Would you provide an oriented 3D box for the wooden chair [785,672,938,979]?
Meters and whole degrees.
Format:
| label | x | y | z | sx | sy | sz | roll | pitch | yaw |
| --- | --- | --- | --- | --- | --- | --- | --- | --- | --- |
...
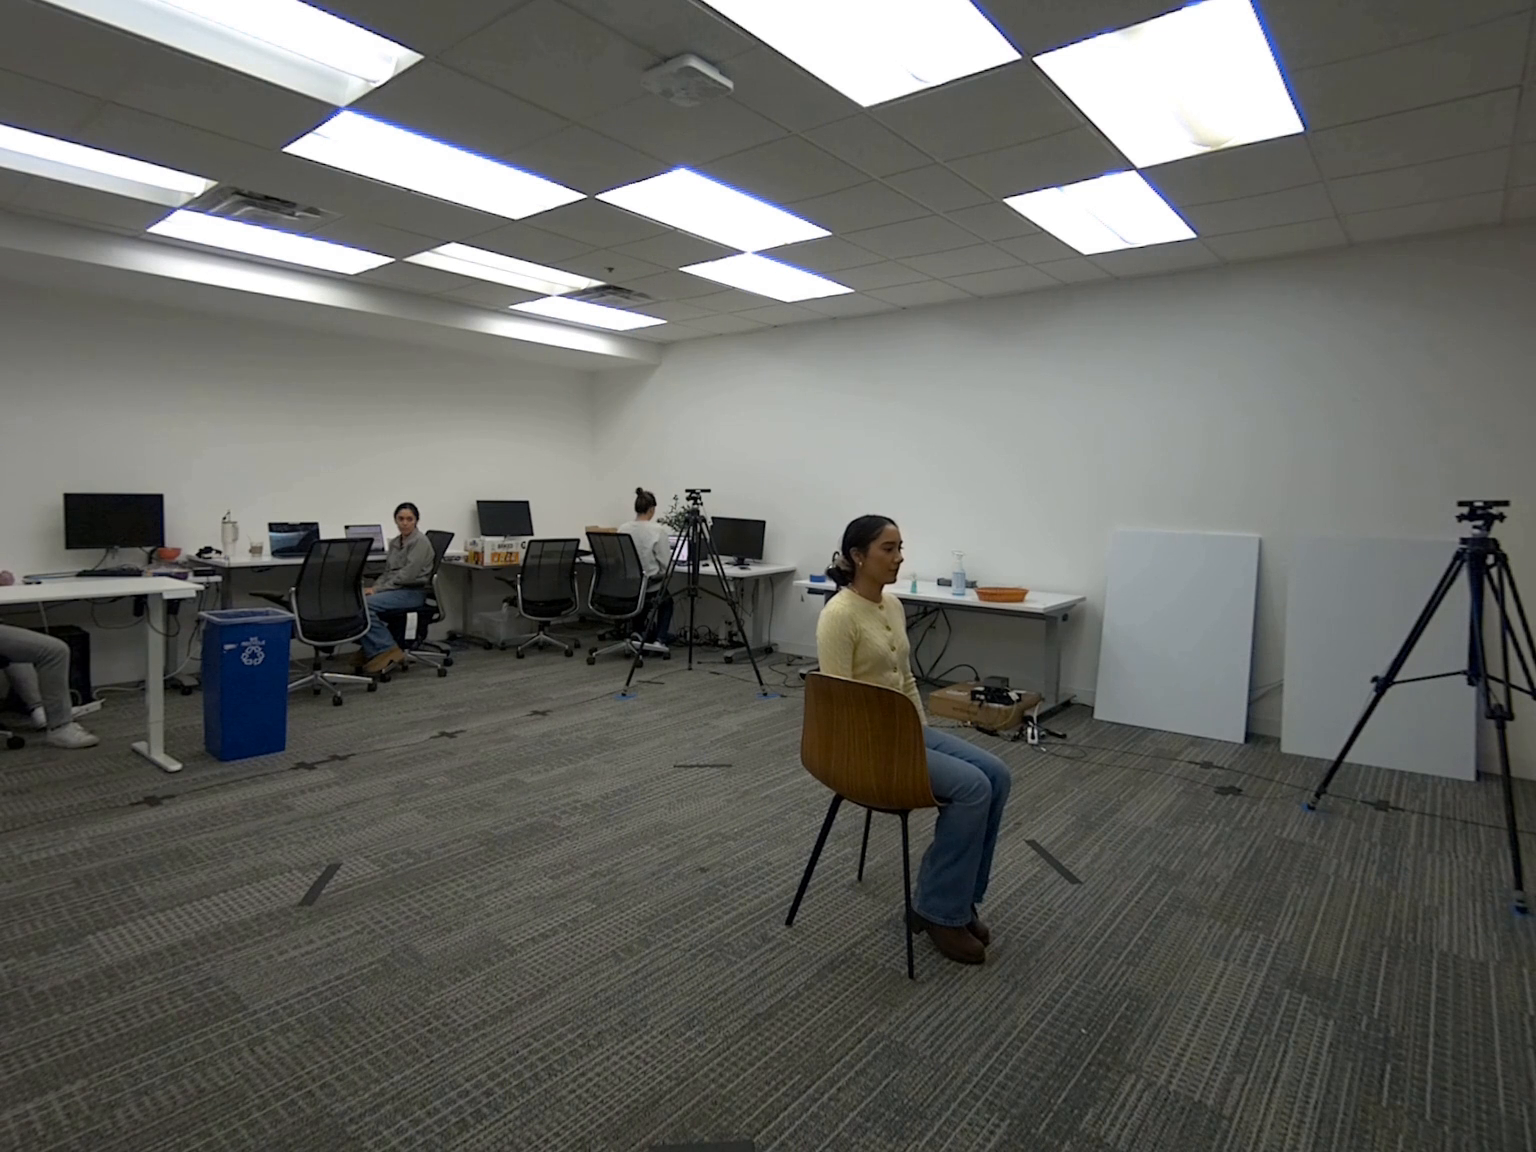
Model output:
| label | x | y | z | sx | sy | sz | roll | pitch | yaw |
| --- | --- | --- | --- | --- | --- | --- | --- | --- | --- |
| wooden chair | 0.375 | 0.699 | 2.734 | 0.494 | 0.872 | 0.509 | 5 | 9 | 39 |
